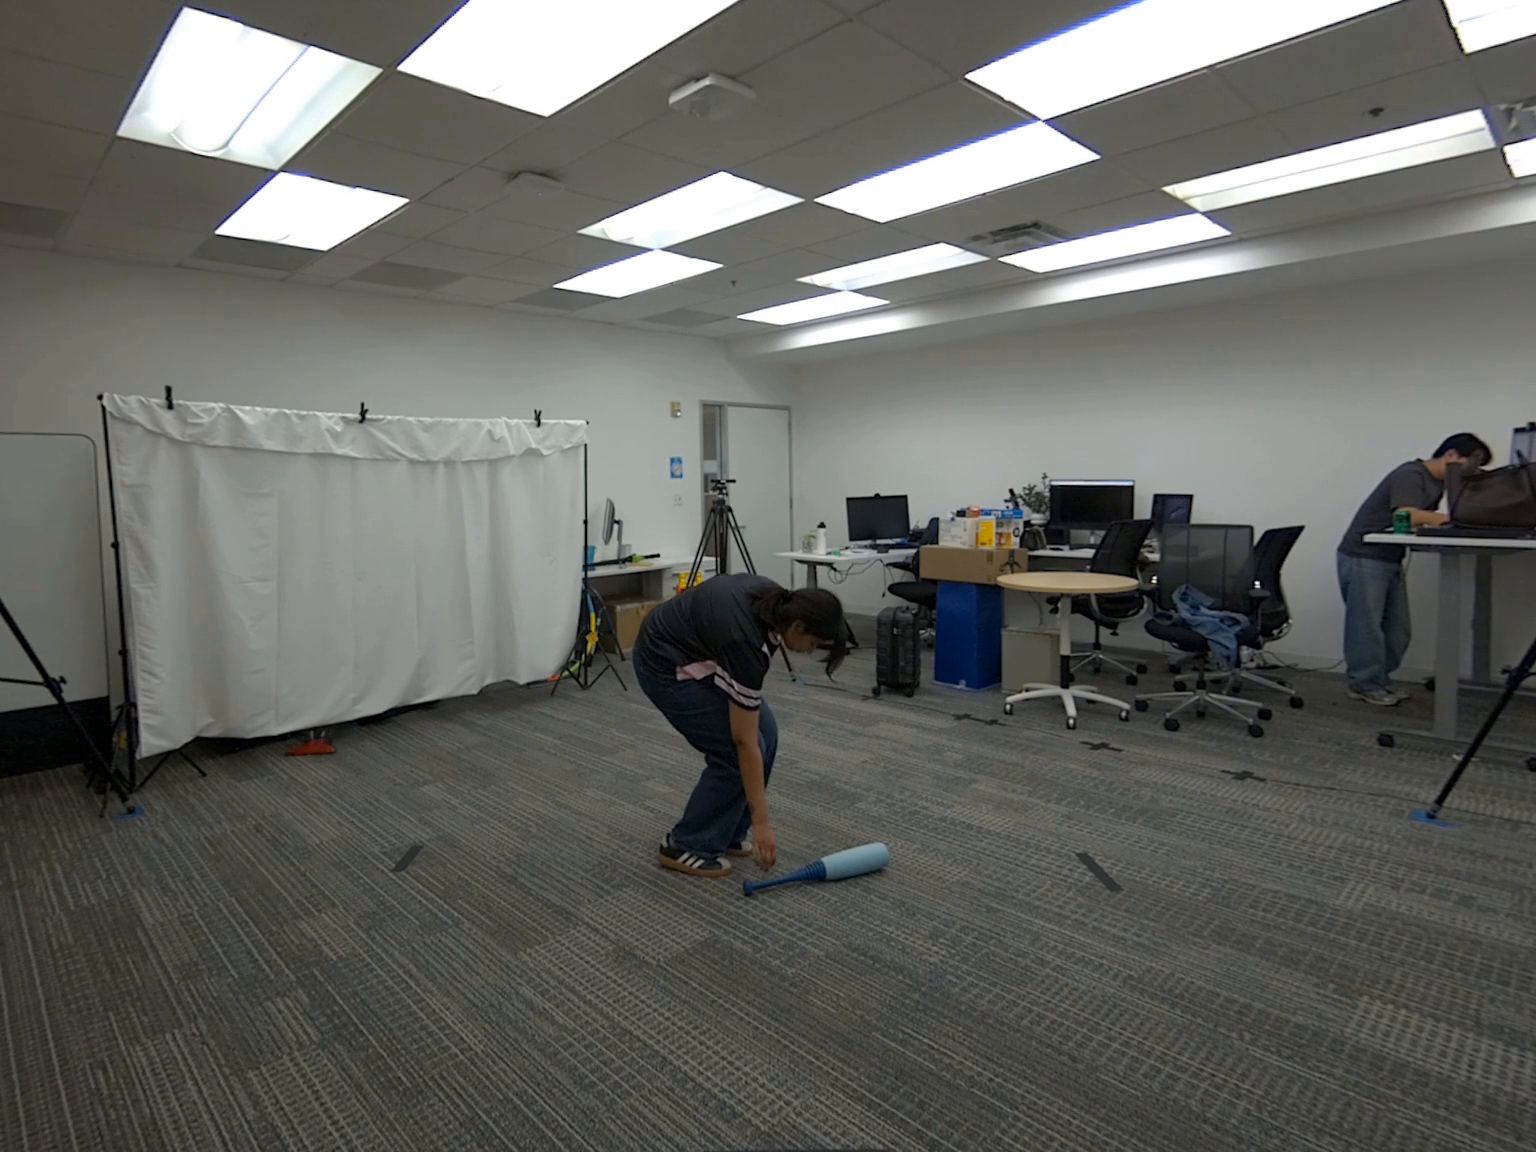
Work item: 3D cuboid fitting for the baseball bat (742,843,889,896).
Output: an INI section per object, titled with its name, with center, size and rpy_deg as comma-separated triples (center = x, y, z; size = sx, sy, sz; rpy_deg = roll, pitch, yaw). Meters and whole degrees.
[baseball bat]
center = 0.174, 1.021, 2.961
size = 0.534, 0.088, 0.091
rpy_deg = -7, 6, -20
